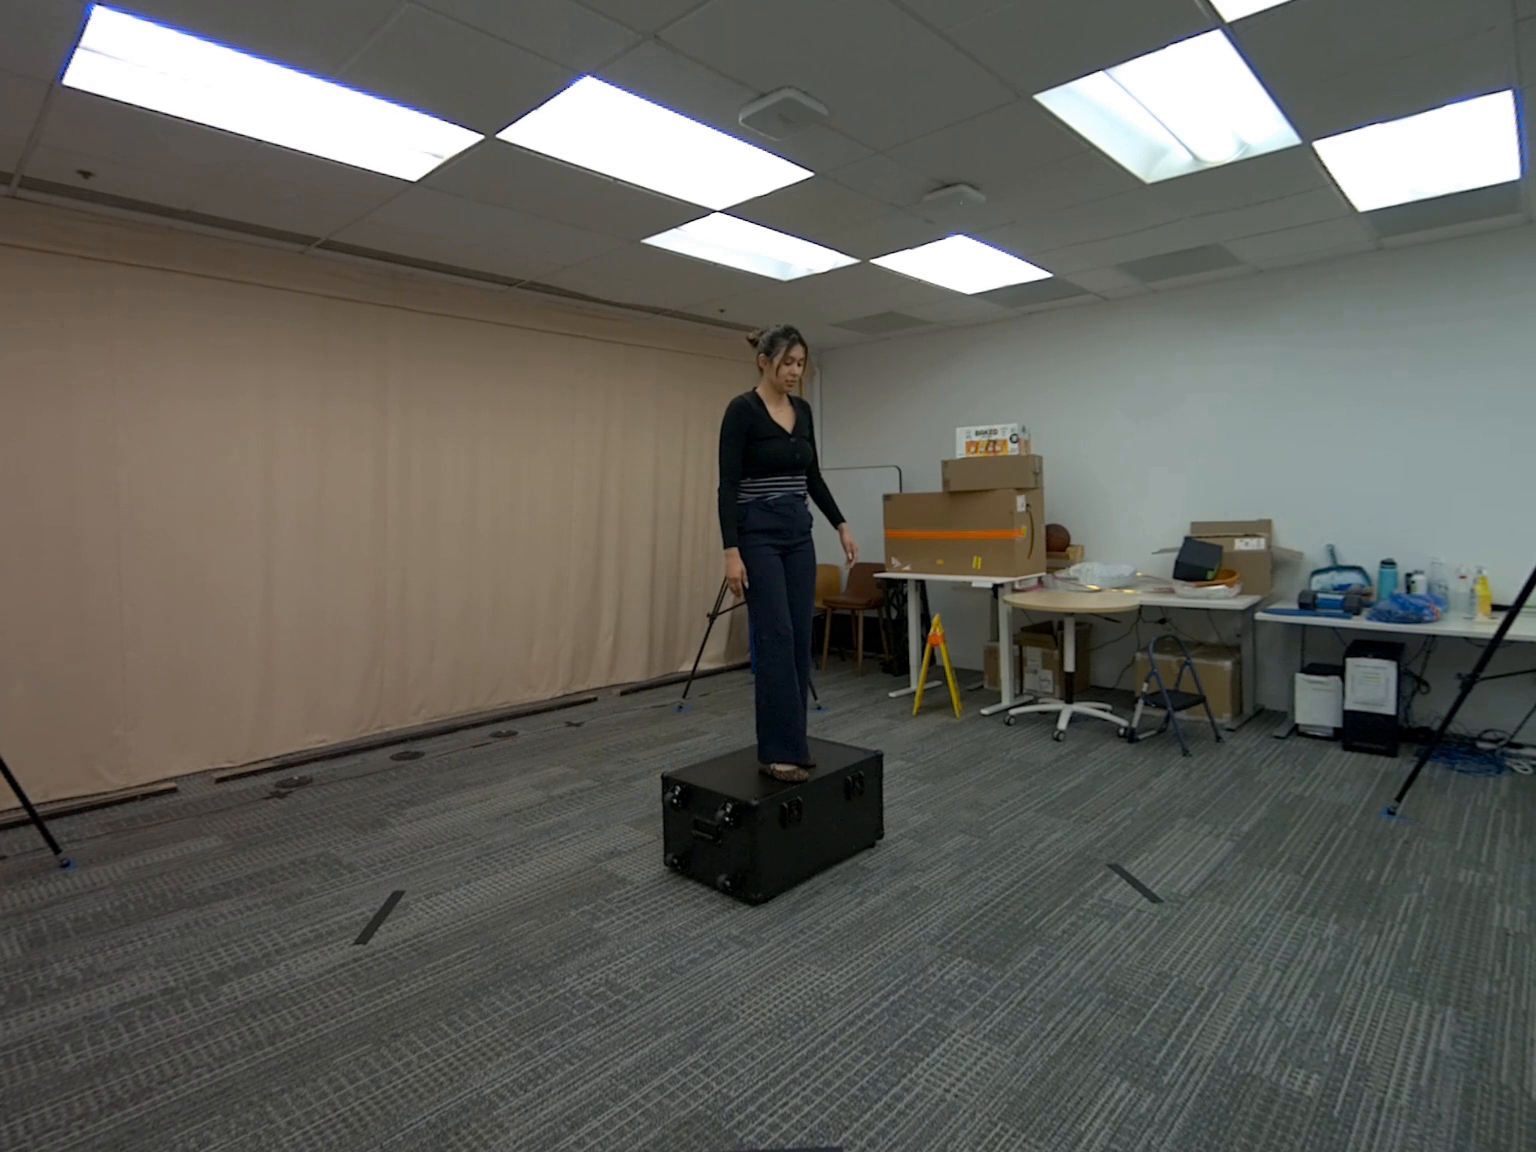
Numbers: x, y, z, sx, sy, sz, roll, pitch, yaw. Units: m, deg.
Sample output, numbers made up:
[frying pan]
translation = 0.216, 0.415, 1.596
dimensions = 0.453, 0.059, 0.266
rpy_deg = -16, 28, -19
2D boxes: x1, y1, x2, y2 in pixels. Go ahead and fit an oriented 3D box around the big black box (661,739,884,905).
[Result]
[big black box]
translation = 0.059, 0.918, 3.335
dimensions = 0.538, 0.395, 0.836
rpy_deg = 3, 7, 43
